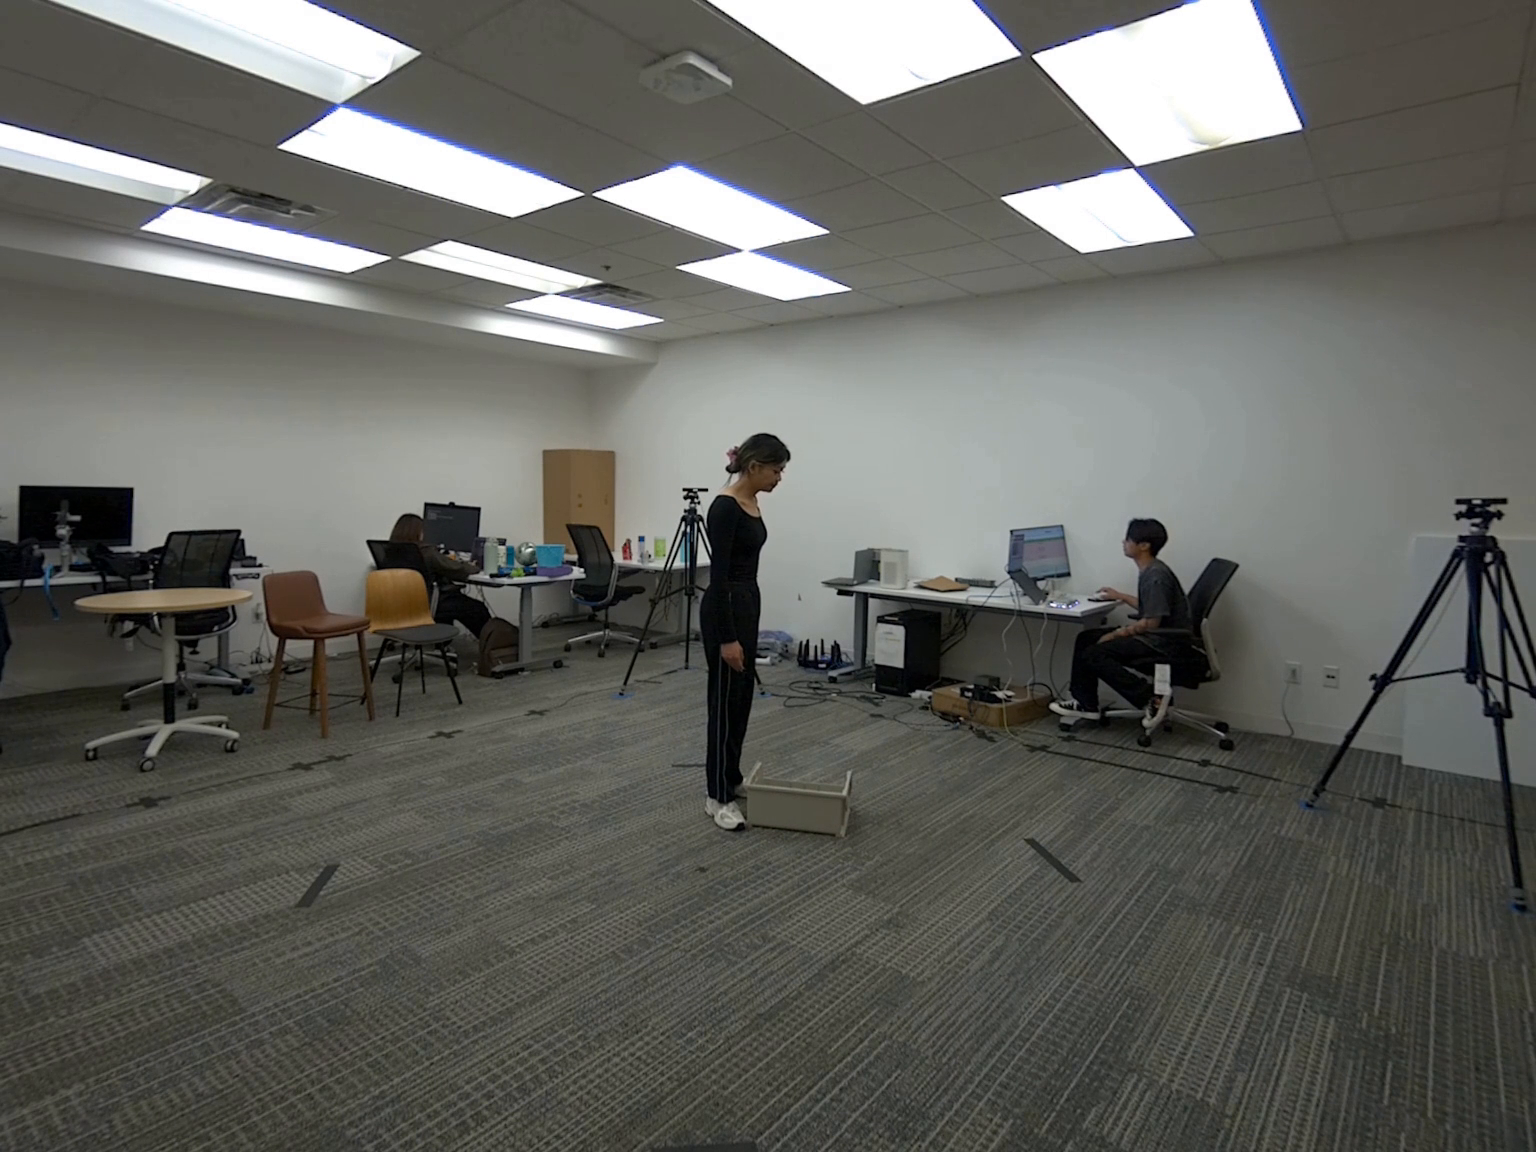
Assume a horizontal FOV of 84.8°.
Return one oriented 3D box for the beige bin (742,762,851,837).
[{"bbox_3d":[0.124,0.936,3.634,0.428,0.188,0.374,2,6,12],"label":"beige bin"}]
